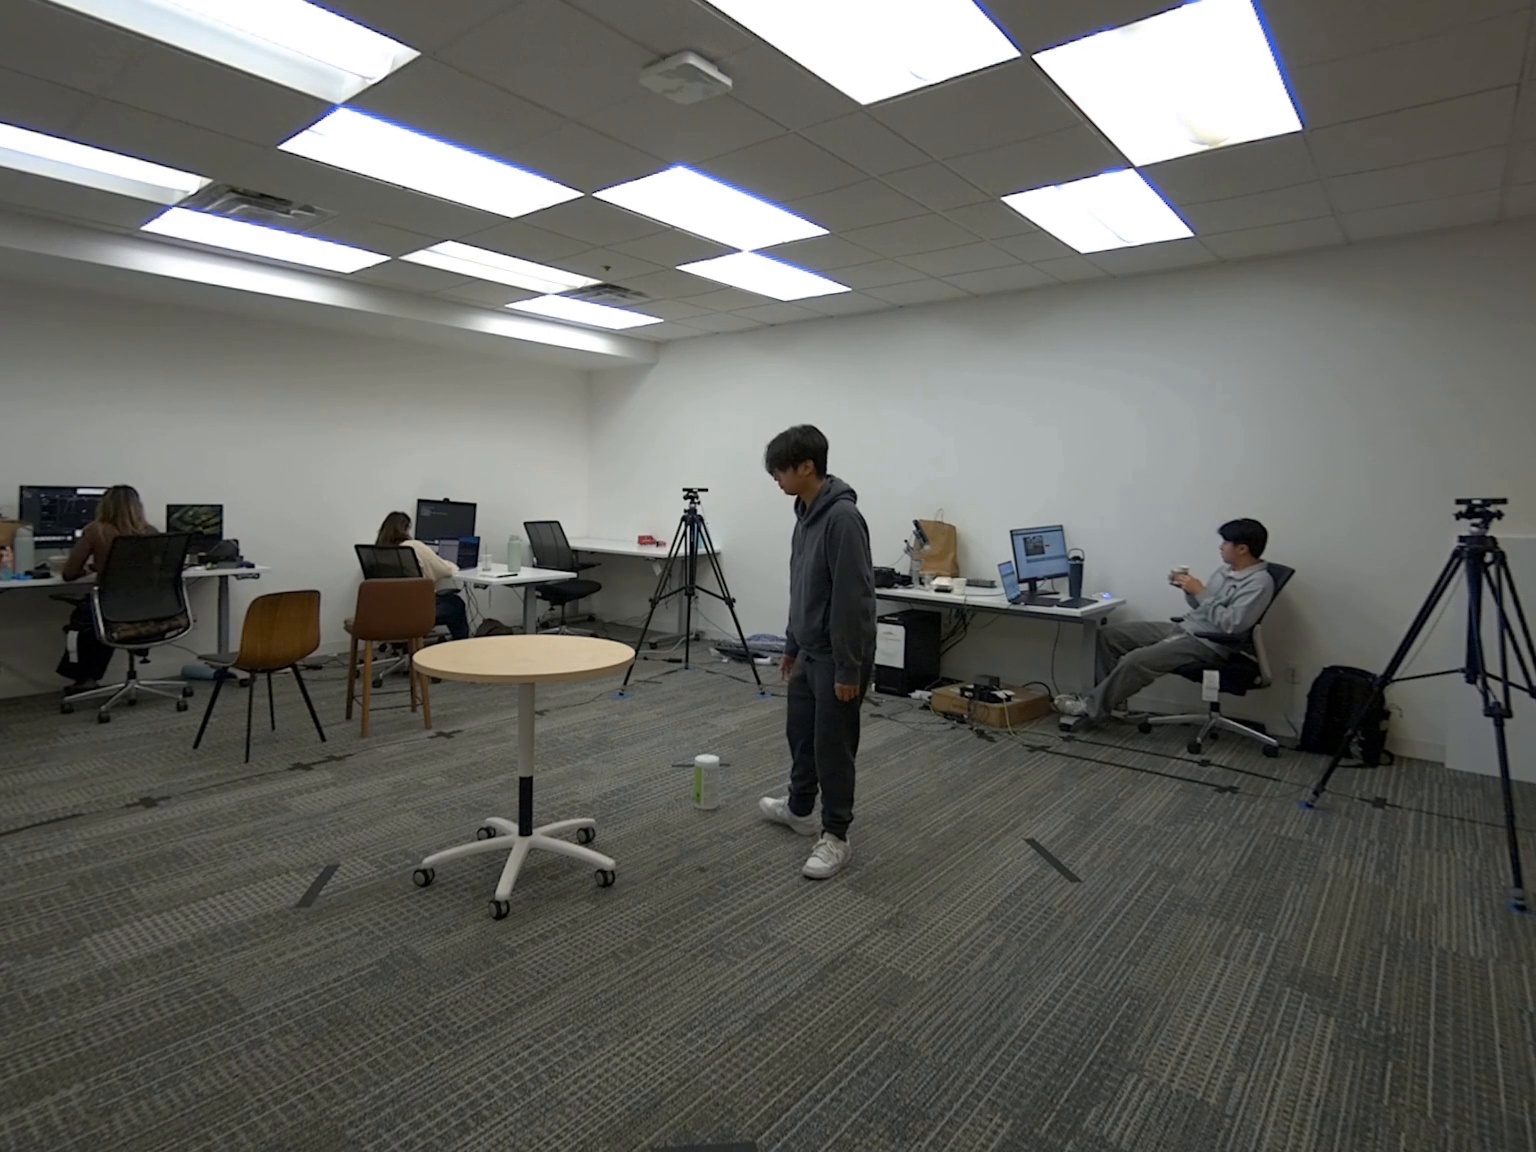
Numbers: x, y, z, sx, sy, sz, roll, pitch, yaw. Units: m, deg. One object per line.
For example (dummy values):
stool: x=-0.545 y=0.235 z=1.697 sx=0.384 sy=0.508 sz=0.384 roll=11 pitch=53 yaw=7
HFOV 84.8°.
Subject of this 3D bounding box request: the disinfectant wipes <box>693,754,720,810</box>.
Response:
disinfectant wipes: x=-0.278 y=0.898 z=3.732 sx=0.117 sy=0.217 sz=0.118 roll=1 pitch=3 yaw=-2
